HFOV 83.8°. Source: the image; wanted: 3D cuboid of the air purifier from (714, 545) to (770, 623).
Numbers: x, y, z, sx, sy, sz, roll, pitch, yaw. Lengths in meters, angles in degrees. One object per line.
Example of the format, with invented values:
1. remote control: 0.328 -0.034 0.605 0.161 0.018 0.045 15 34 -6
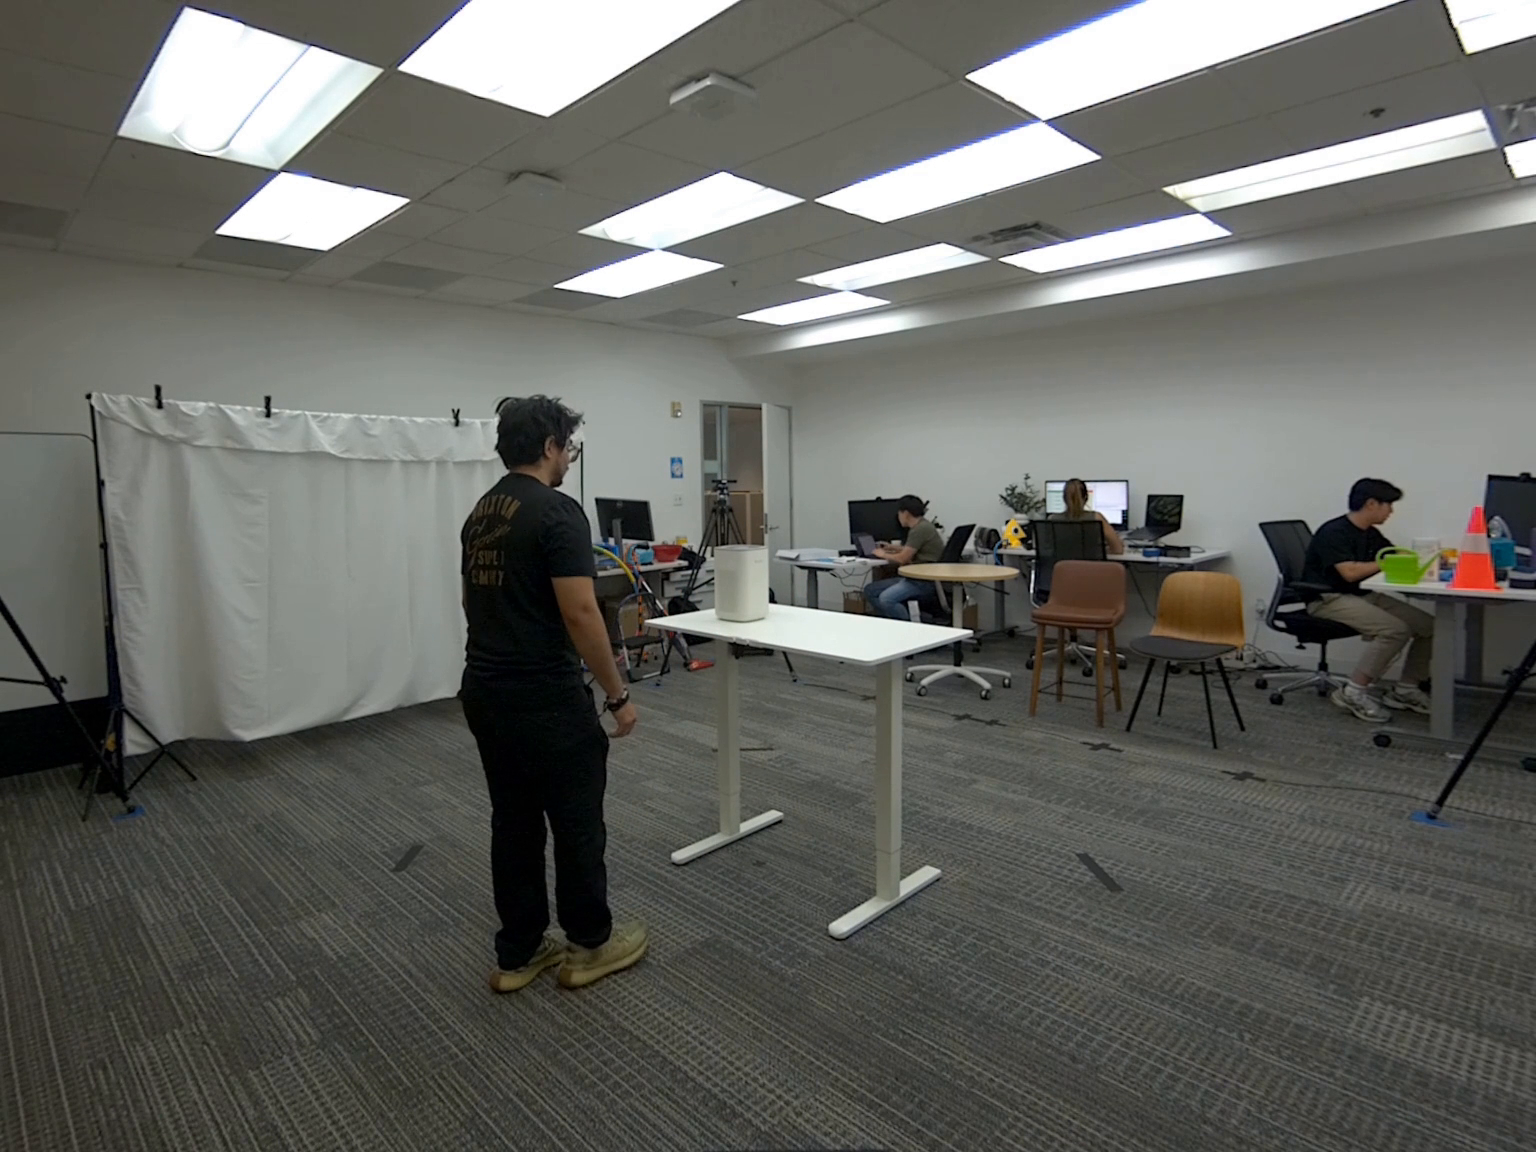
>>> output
1. air purifier: -0.097 0.025 3.147 0.177 0.264 0.167 4 6 38
